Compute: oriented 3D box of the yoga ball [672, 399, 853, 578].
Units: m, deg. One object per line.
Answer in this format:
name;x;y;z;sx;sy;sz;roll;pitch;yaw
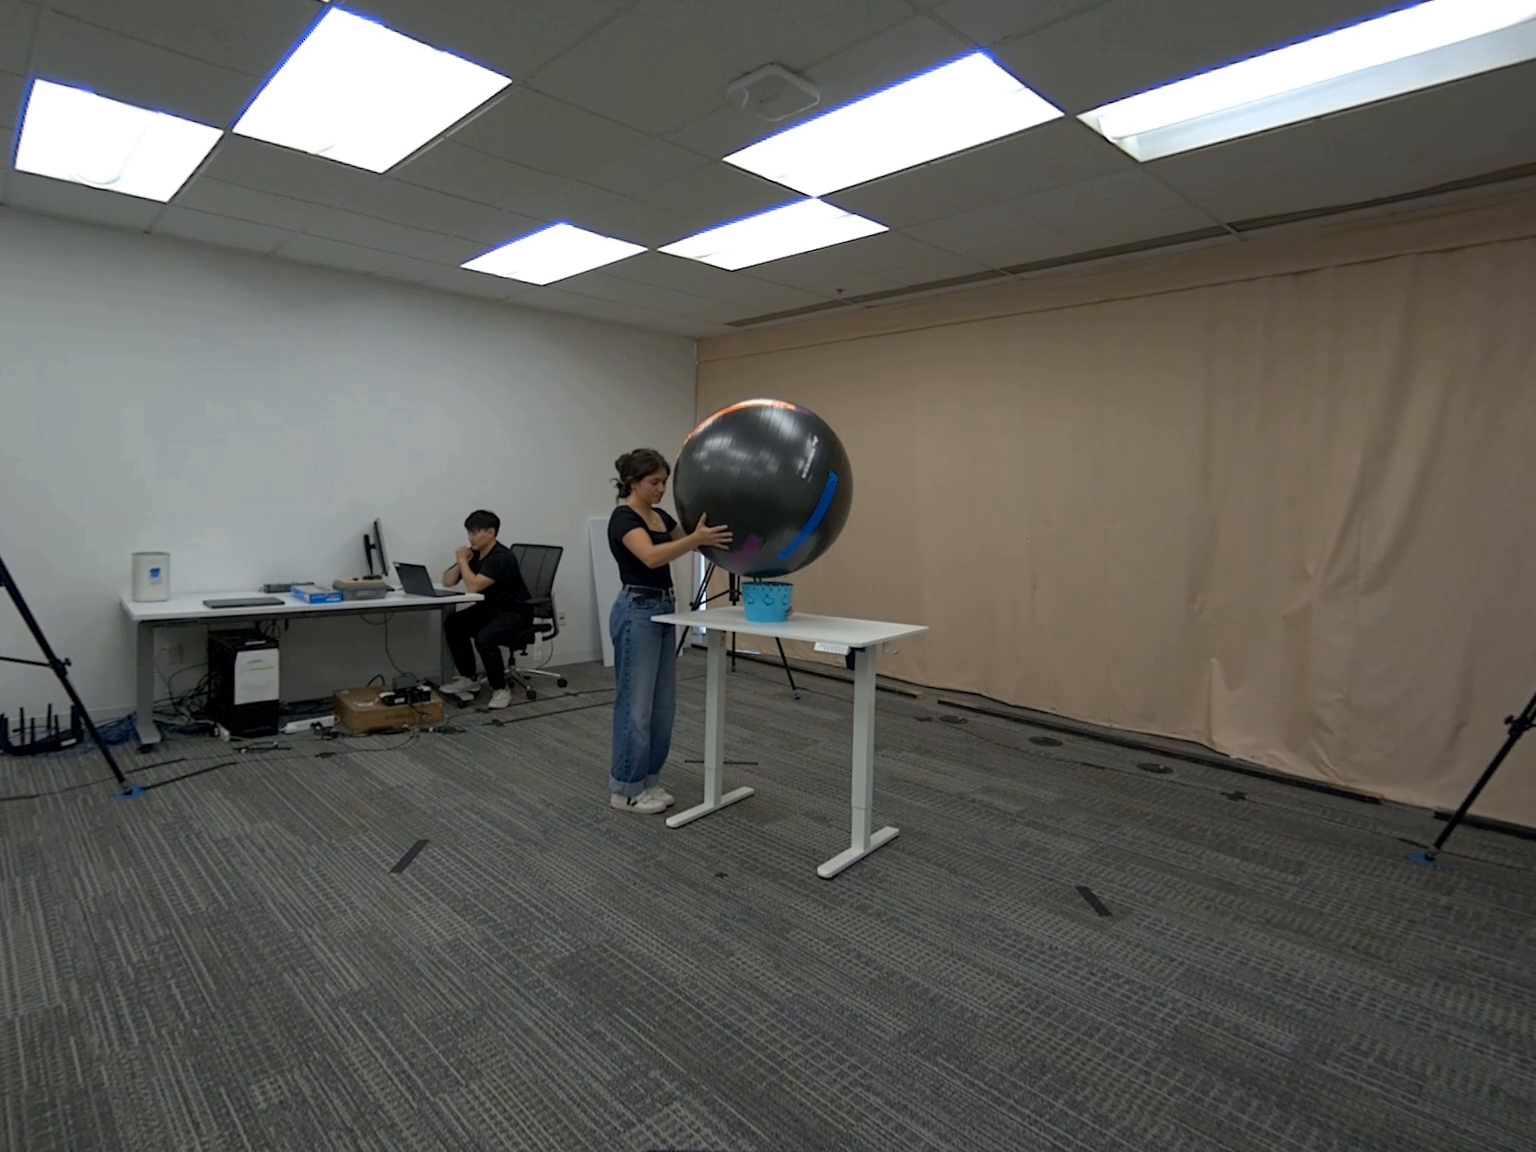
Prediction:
yoga ball;-0.032;-0.366;3.575;0.757;0.756;0.761;1;4;-1
